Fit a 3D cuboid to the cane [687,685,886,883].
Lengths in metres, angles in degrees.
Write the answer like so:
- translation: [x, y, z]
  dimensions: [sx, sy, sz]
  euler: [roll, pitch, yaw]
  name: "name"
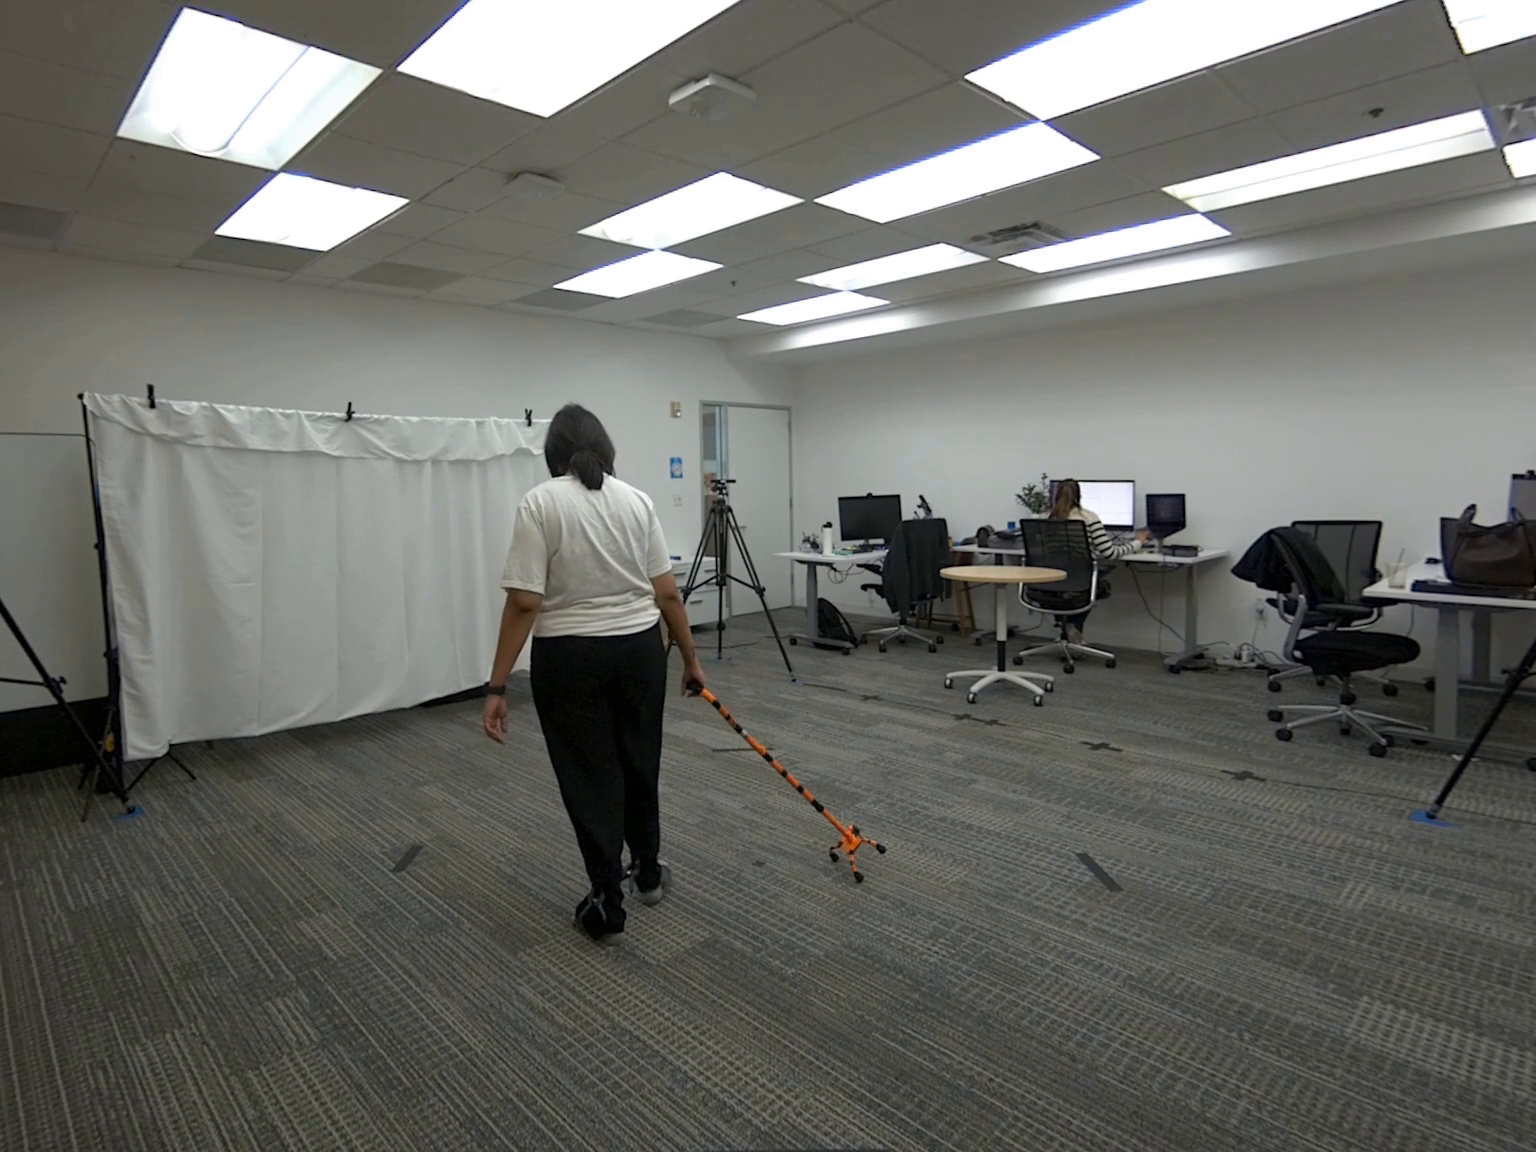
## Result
- translation: [0.043, 0.679, 2.931]
  dimensions: [0.151, 0.889, 0.211]
  euler: [-46, 17, -13]
  name: "cane"
